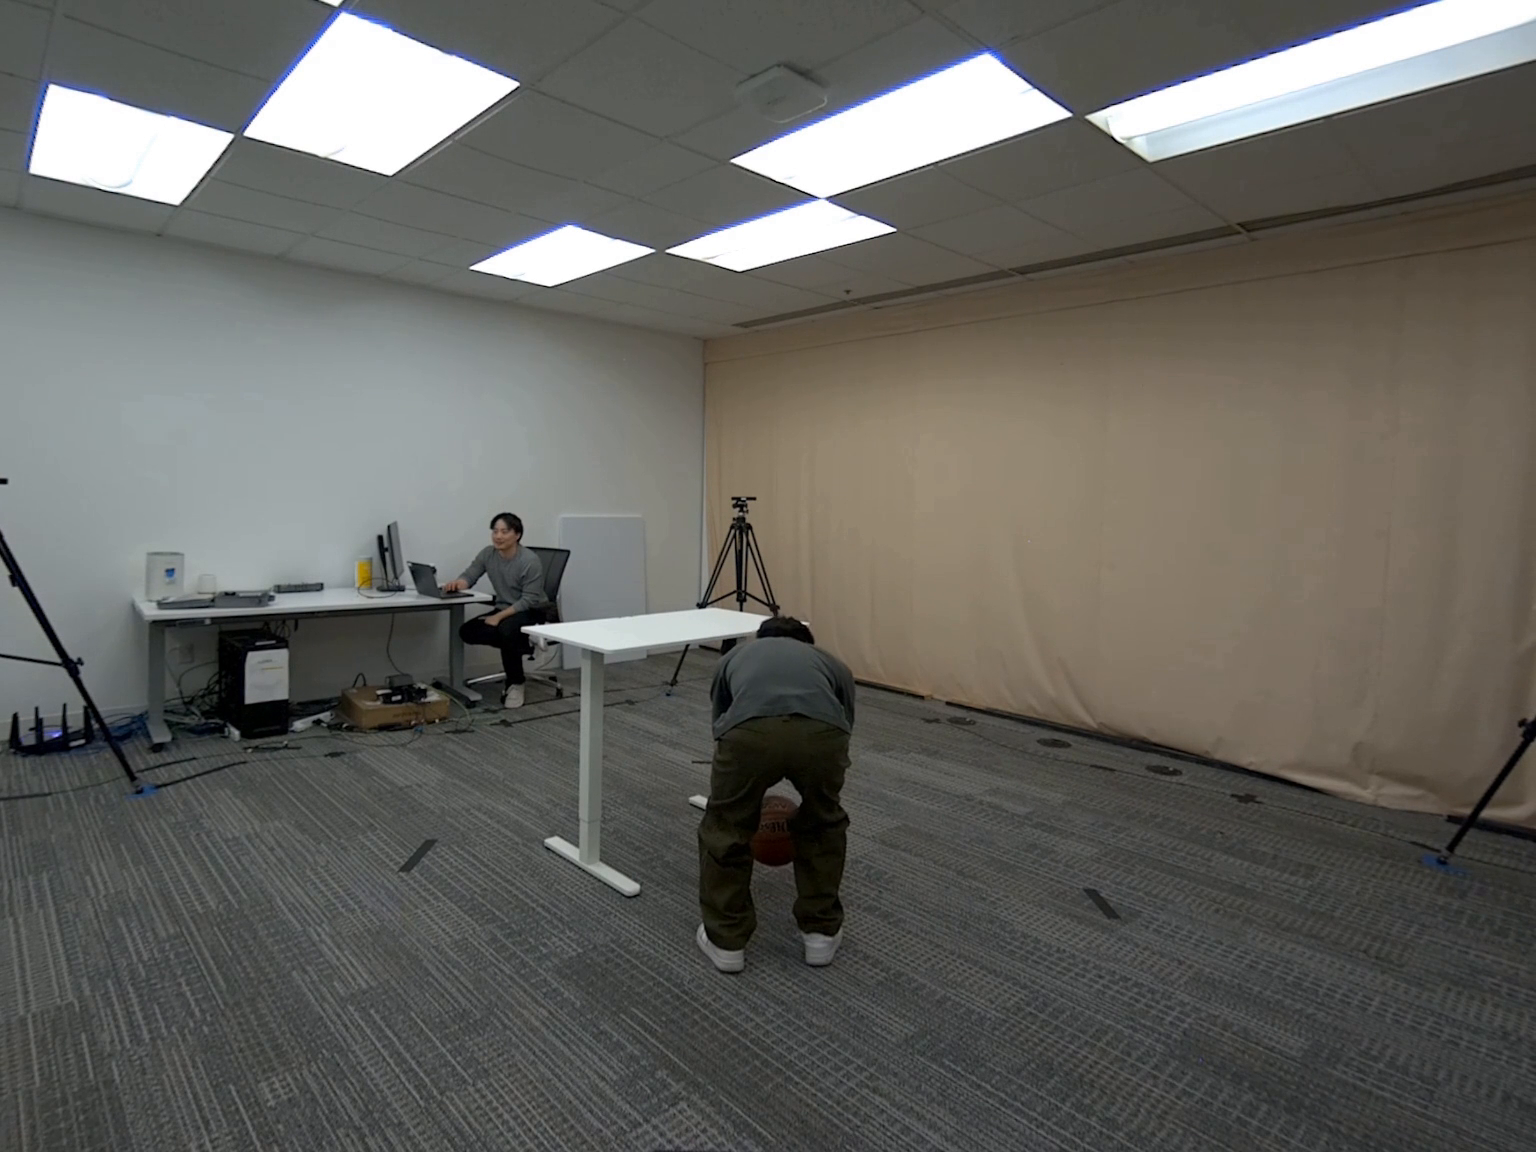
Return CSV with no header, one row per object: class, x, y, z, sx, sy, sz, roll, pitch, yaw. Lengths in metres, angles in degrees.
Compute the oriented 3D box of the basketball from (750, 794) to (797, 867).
basketball,0.019,0.901,2.968,0.236,0.235,0.237,1,4,-1
